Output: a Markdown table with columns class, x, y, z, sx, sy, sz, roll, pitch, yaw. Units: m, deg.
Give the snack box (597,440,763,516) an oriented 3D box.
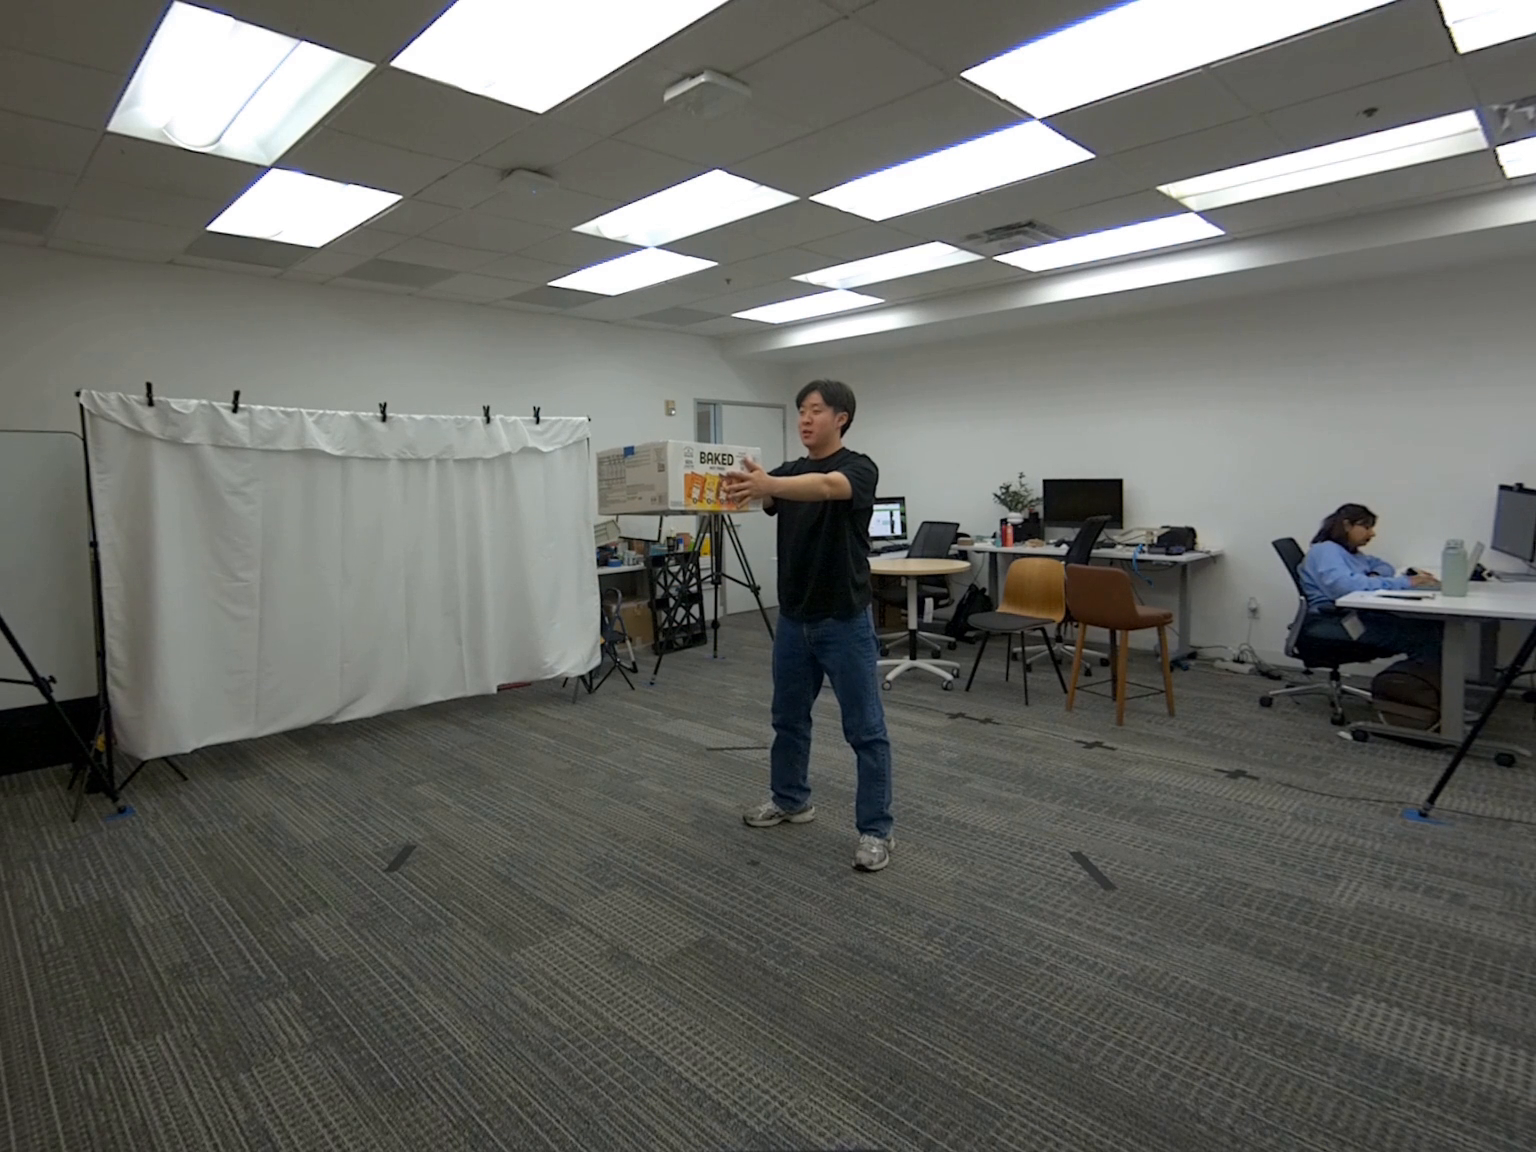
| class | x | y | z | sx | sy | sz | roll | pitch | yaw |
| --- | --- | --- | --- | --- | --- | --- | --- | --- | --- |
| snack box | -0.275 | -0.301 | 2.702 | 0.350 | 0.206 | 0.394 | -1 | 2 | 43 |
